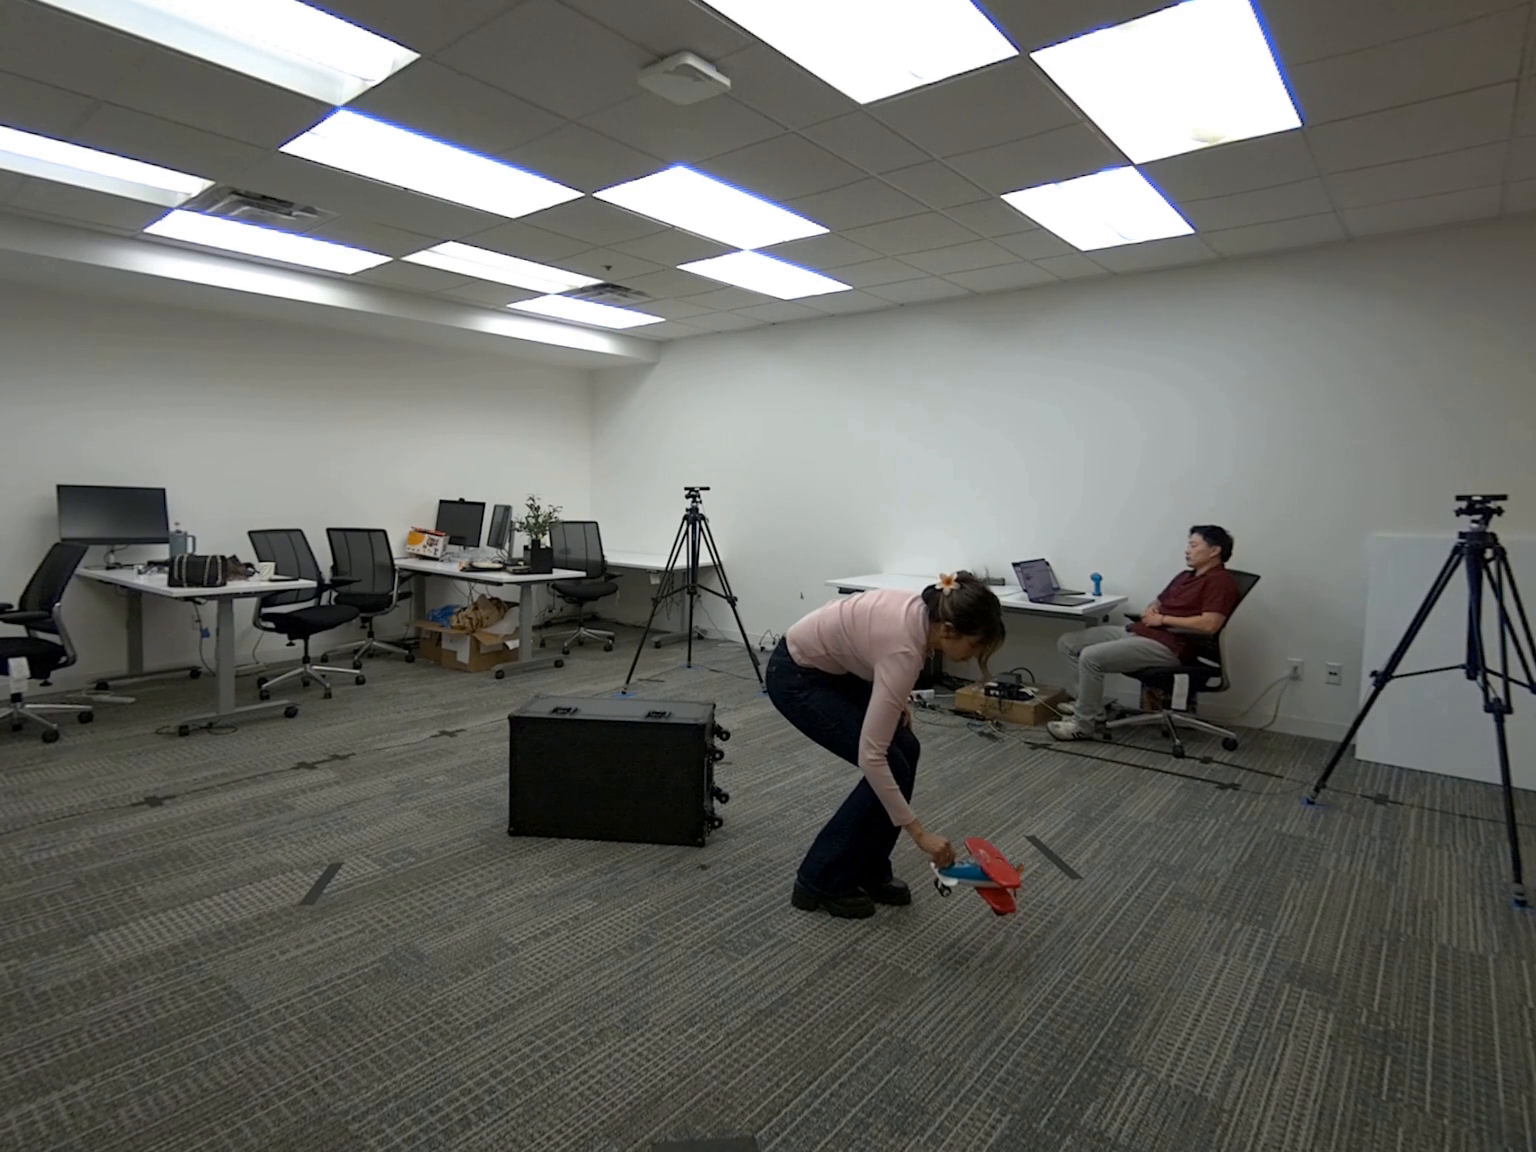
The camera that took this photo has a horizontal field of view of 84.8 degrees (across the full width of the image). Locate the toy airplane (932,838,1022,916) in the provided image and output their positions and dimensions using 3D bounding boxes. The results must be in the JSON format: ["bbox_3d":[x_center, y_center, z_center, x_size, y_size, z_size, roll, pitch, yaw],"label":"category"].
[{"bbox_3d":[0.634,0.906,2.533,0.261,0.156,0.249,25,7,42],"label":"toy airplane"}]
